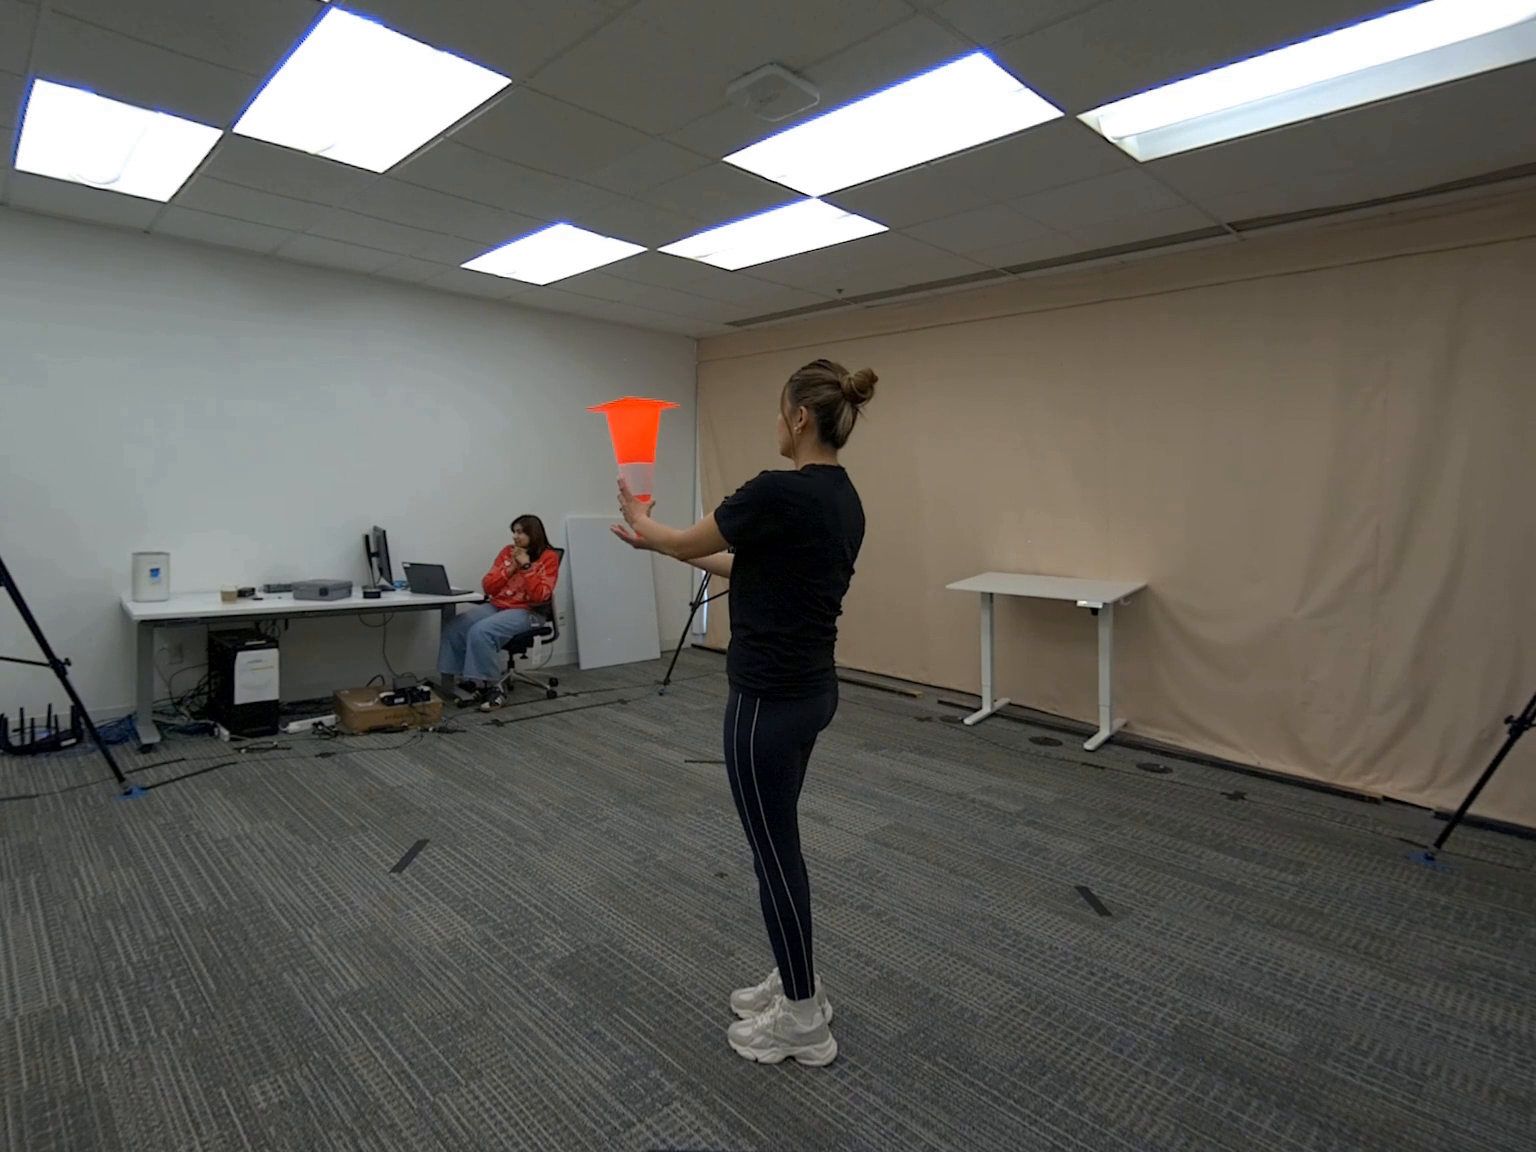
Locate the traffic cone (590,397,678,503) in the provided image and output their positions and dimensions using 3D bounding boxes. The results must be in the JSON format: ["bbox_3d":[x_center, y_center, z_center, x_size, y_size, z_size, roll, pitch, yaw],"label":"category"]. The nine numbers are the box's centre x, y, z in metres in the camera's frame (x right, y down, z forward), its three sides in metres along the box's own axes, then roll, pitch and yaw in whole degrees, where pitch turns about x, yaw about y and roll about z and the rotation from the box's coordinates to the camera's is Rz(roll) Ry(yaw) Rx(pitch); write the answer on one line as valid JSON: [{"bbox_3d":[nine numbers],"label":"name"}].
[{"bbox_3d":[-0.386,-0.284,2.378,0.199,0.383,0.210,-3,2,-38],"label":"traffic cone"}]
